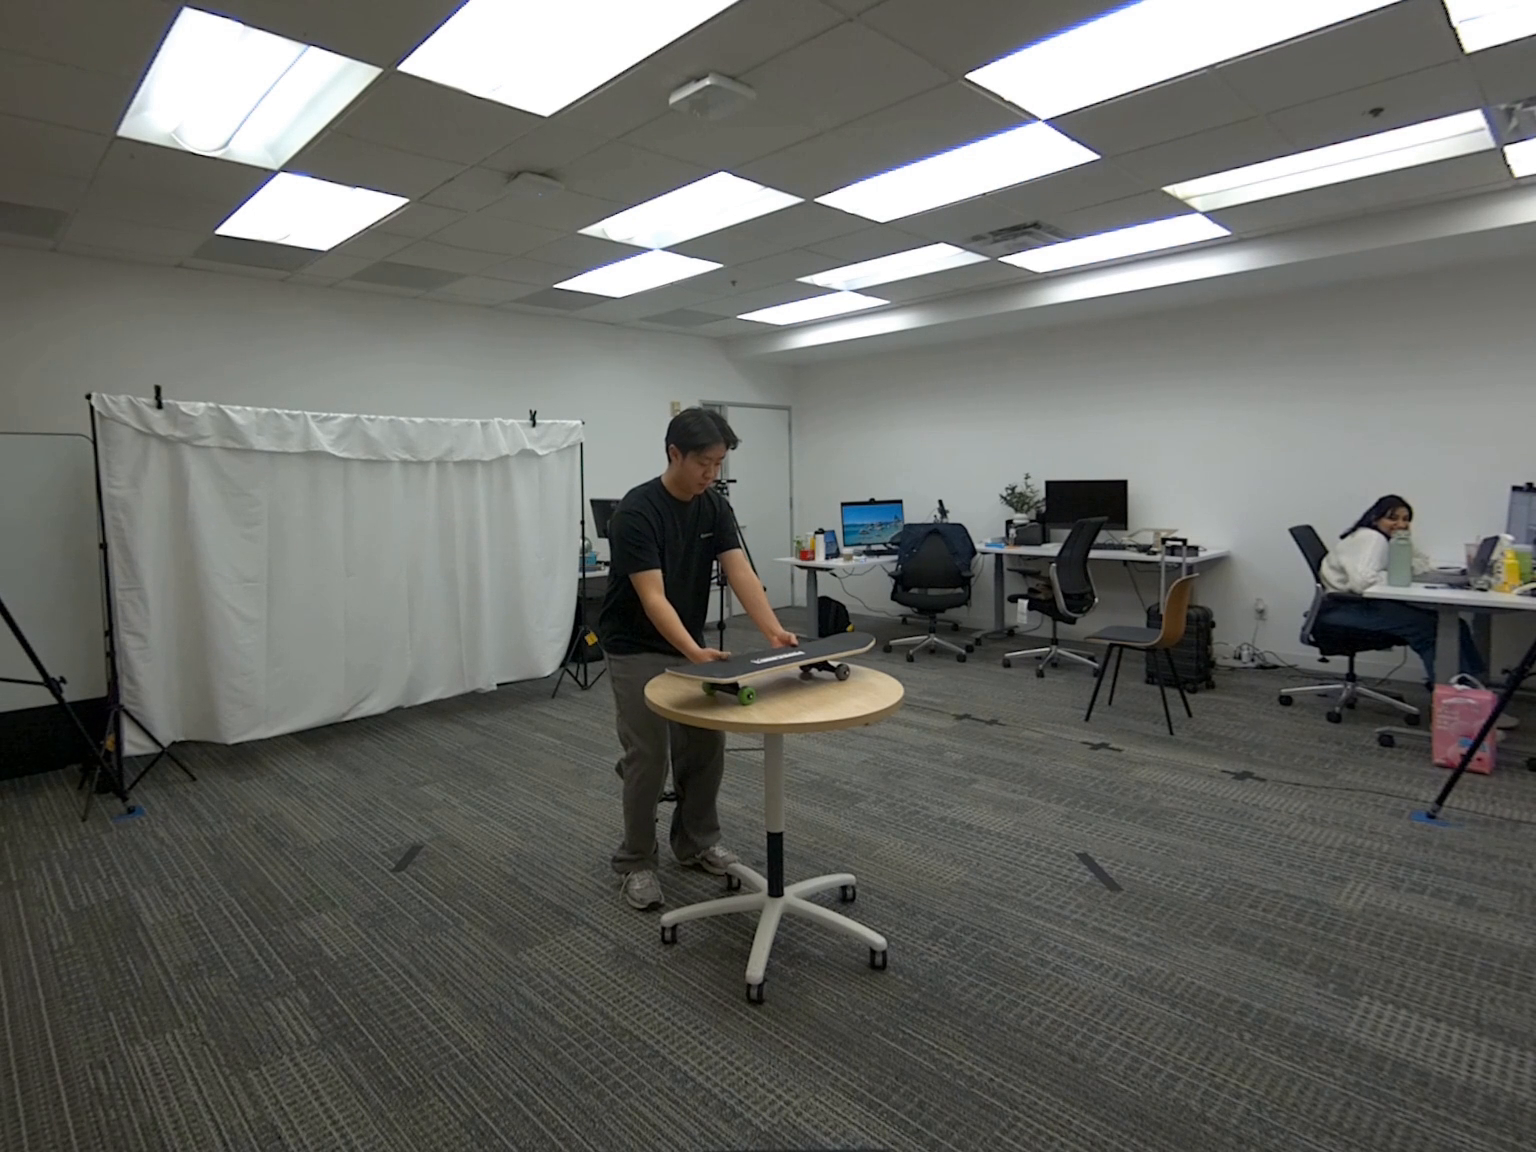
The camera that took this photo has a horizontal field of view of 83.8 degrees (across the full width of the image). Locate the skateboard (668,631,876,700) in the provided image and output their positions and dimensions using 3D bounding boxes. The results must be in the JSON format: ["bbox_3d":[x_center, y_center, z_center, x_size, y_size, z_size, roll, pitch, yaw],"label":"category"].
[{"bbox_3d":[0.040,0.271,2.523,0.765,0.110,0.199,-6,8,-37],"label":"skateboard"}]
